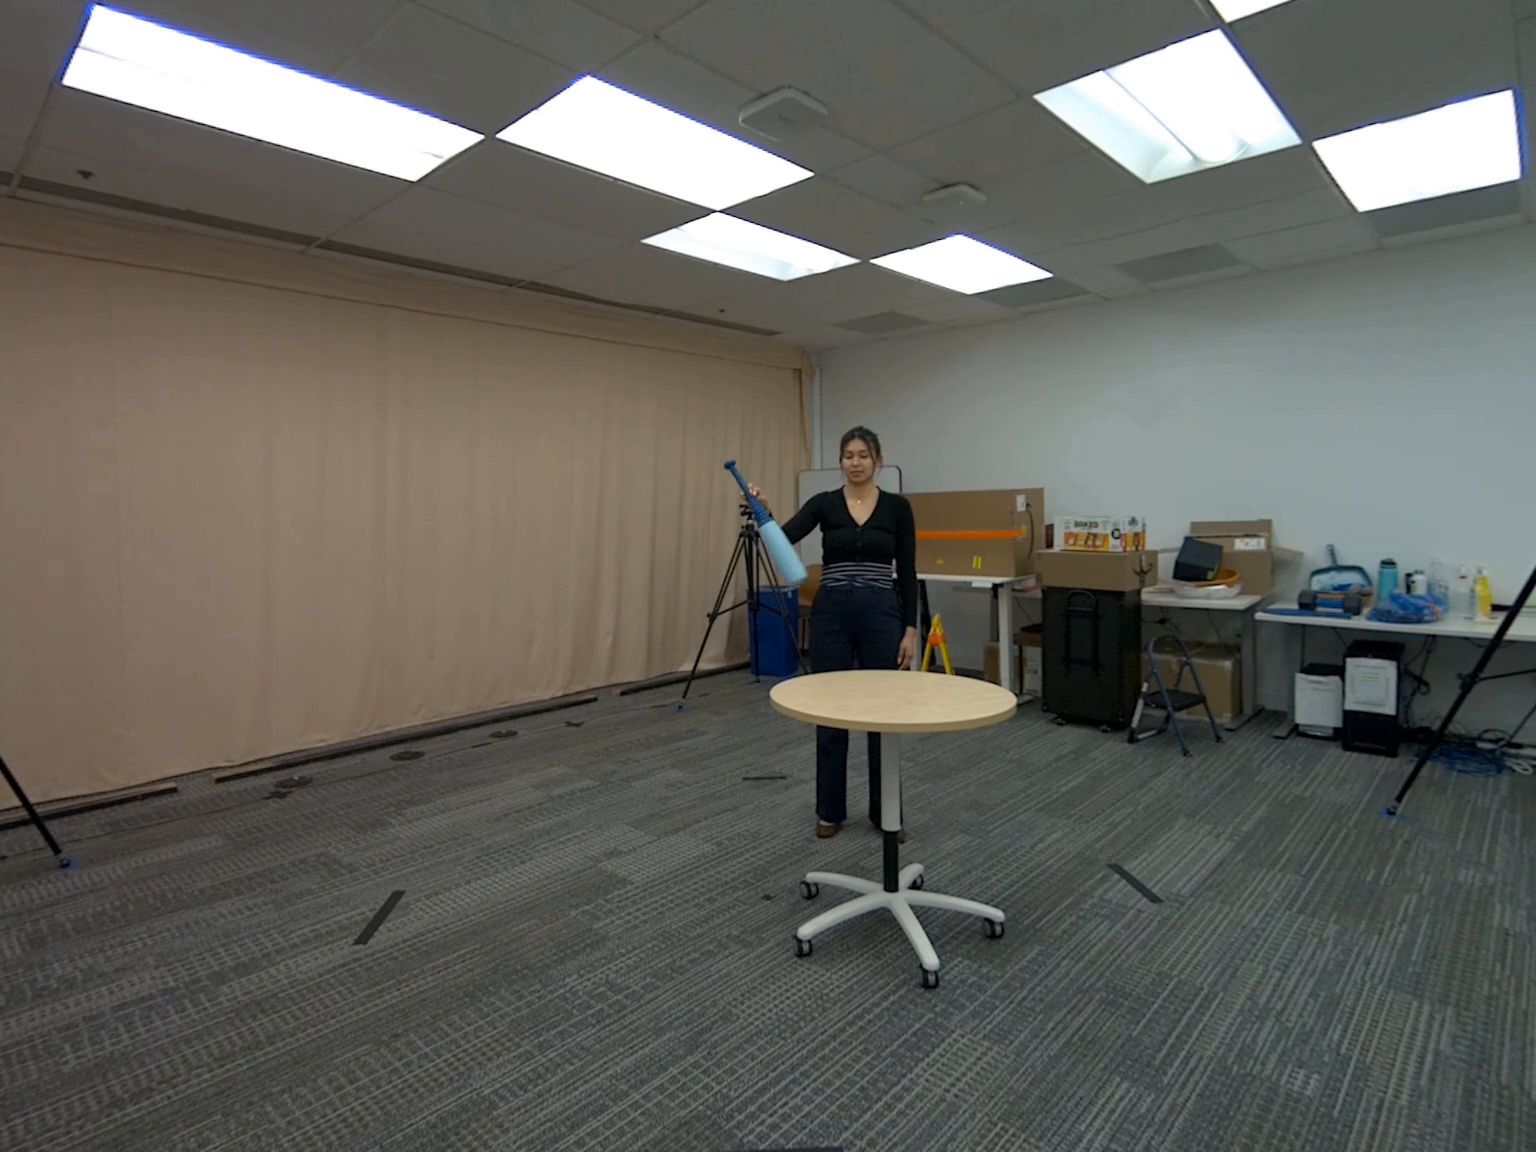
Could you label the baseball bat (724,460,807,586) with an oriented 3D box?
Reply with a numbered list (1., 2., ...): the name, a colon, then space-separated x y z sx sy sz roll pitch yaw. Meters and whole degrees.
1. baseball bat: -0.020 -0.225 3.154 0.088 0.550 0.088 -28 -12 -8
